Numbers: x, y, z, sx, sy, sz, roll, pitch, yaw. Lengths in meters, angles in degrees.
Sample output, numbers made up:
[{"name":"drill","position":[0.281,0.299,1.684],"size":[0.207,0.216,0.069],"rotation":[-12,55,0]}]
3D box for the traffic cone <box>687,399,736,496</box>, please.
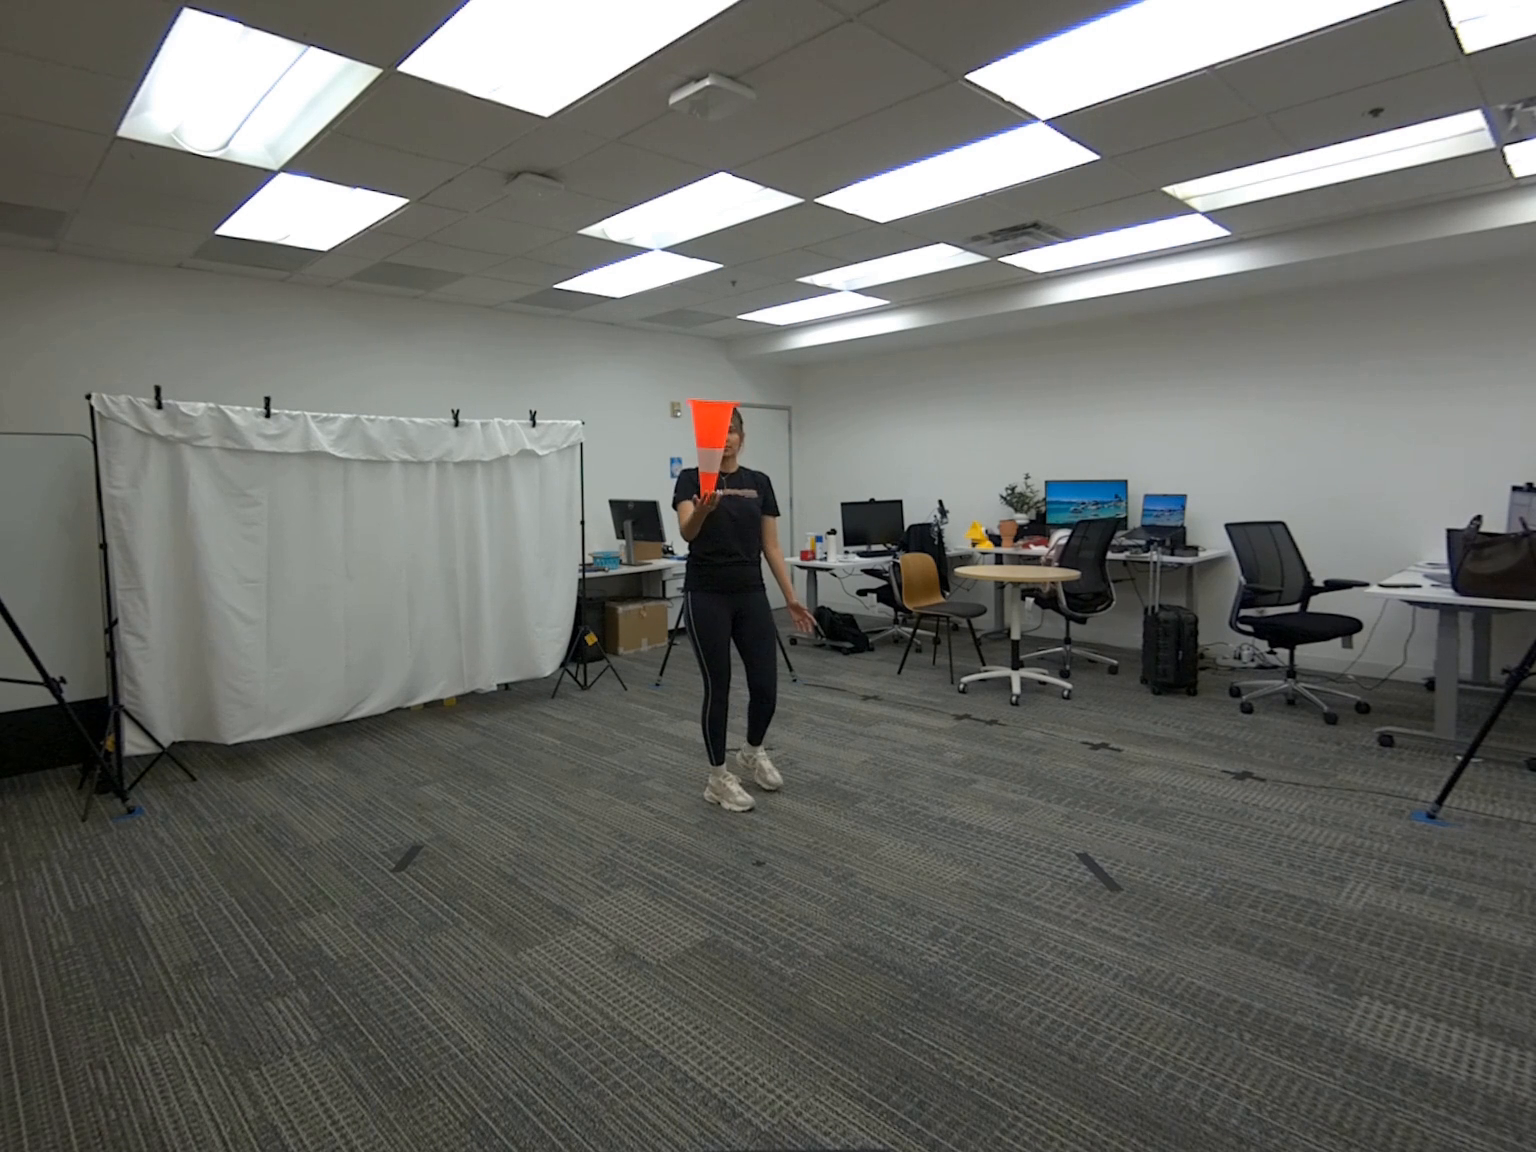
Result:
[{"name":"traffic cone","position":[-0.213,-0.452,3.179],"size":[0.203,0.383,0.206],"rotation":[1,2,-4]}]
